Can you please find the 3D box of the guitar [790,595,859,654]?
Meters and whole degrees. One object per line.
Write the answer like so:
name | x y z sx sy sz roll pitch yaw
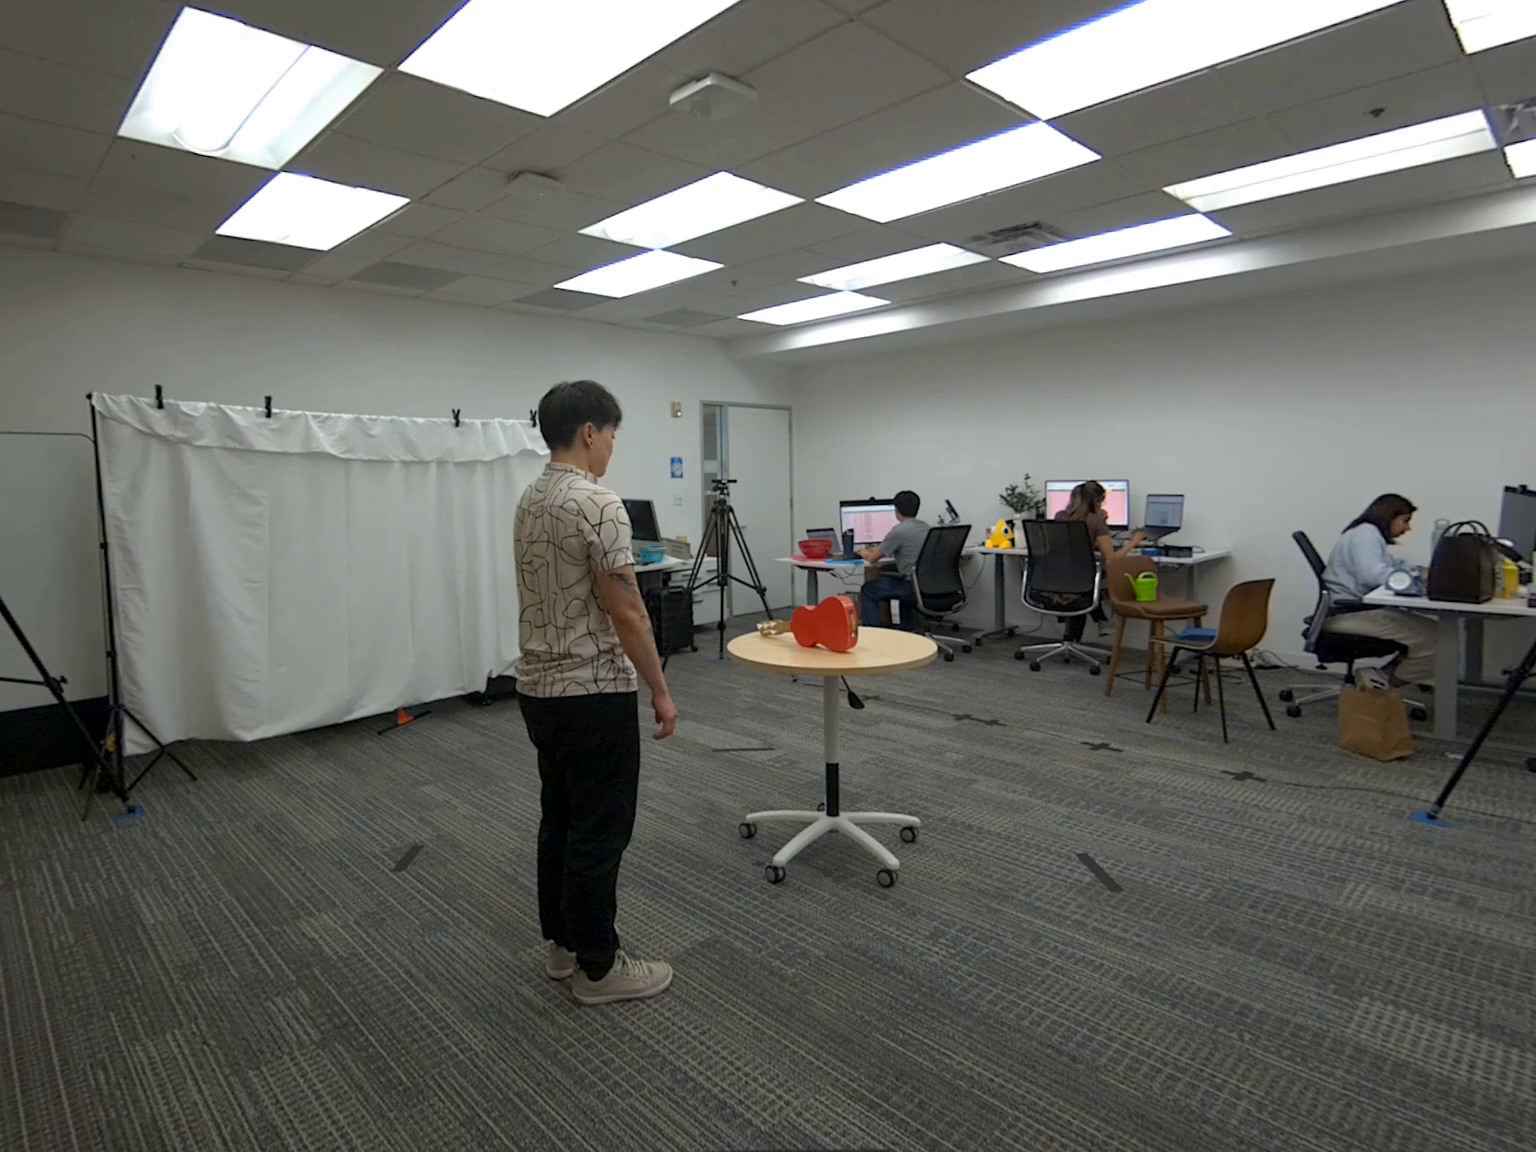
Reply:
guitar | 0.132 0.215 3.156 0.069 0.195 0.506 -4 -12 -43
